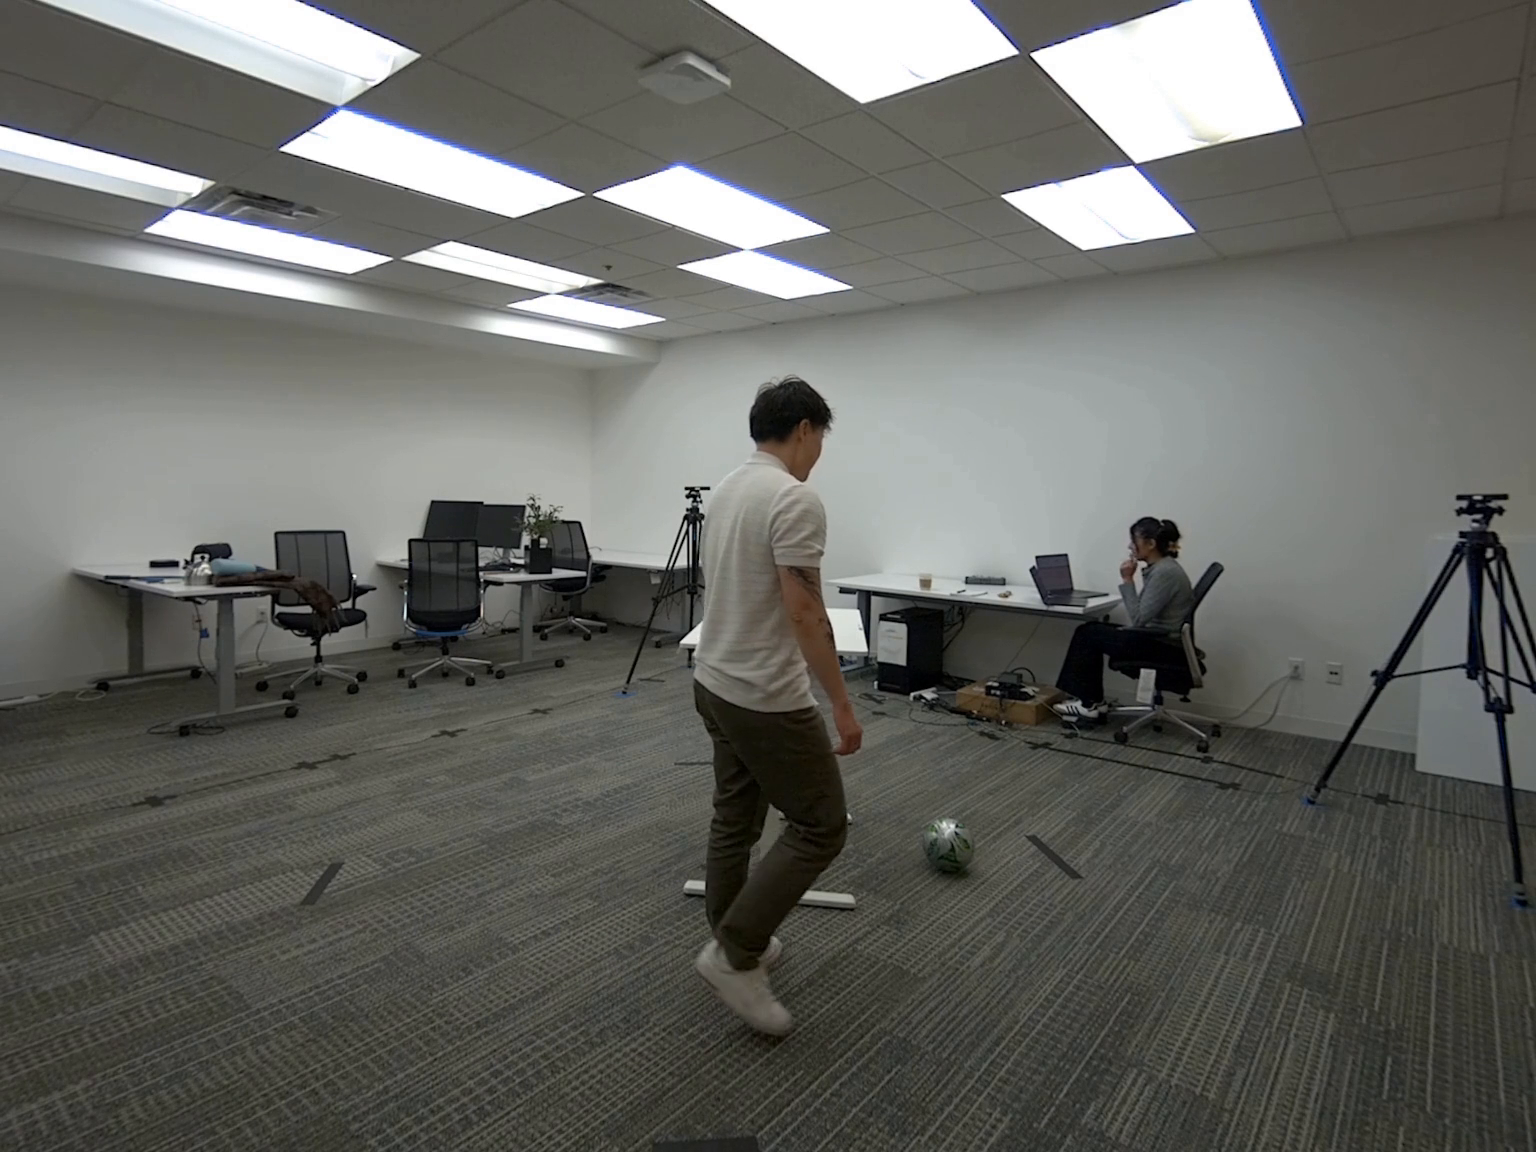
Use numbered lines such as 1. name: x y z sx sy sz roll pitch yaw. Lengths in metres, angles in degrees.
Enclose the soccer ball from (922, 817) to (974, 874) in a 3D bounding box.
1. soccer ball: 0.661 0.987 3.135 0.187 0.187 0.188 1 4 -2
